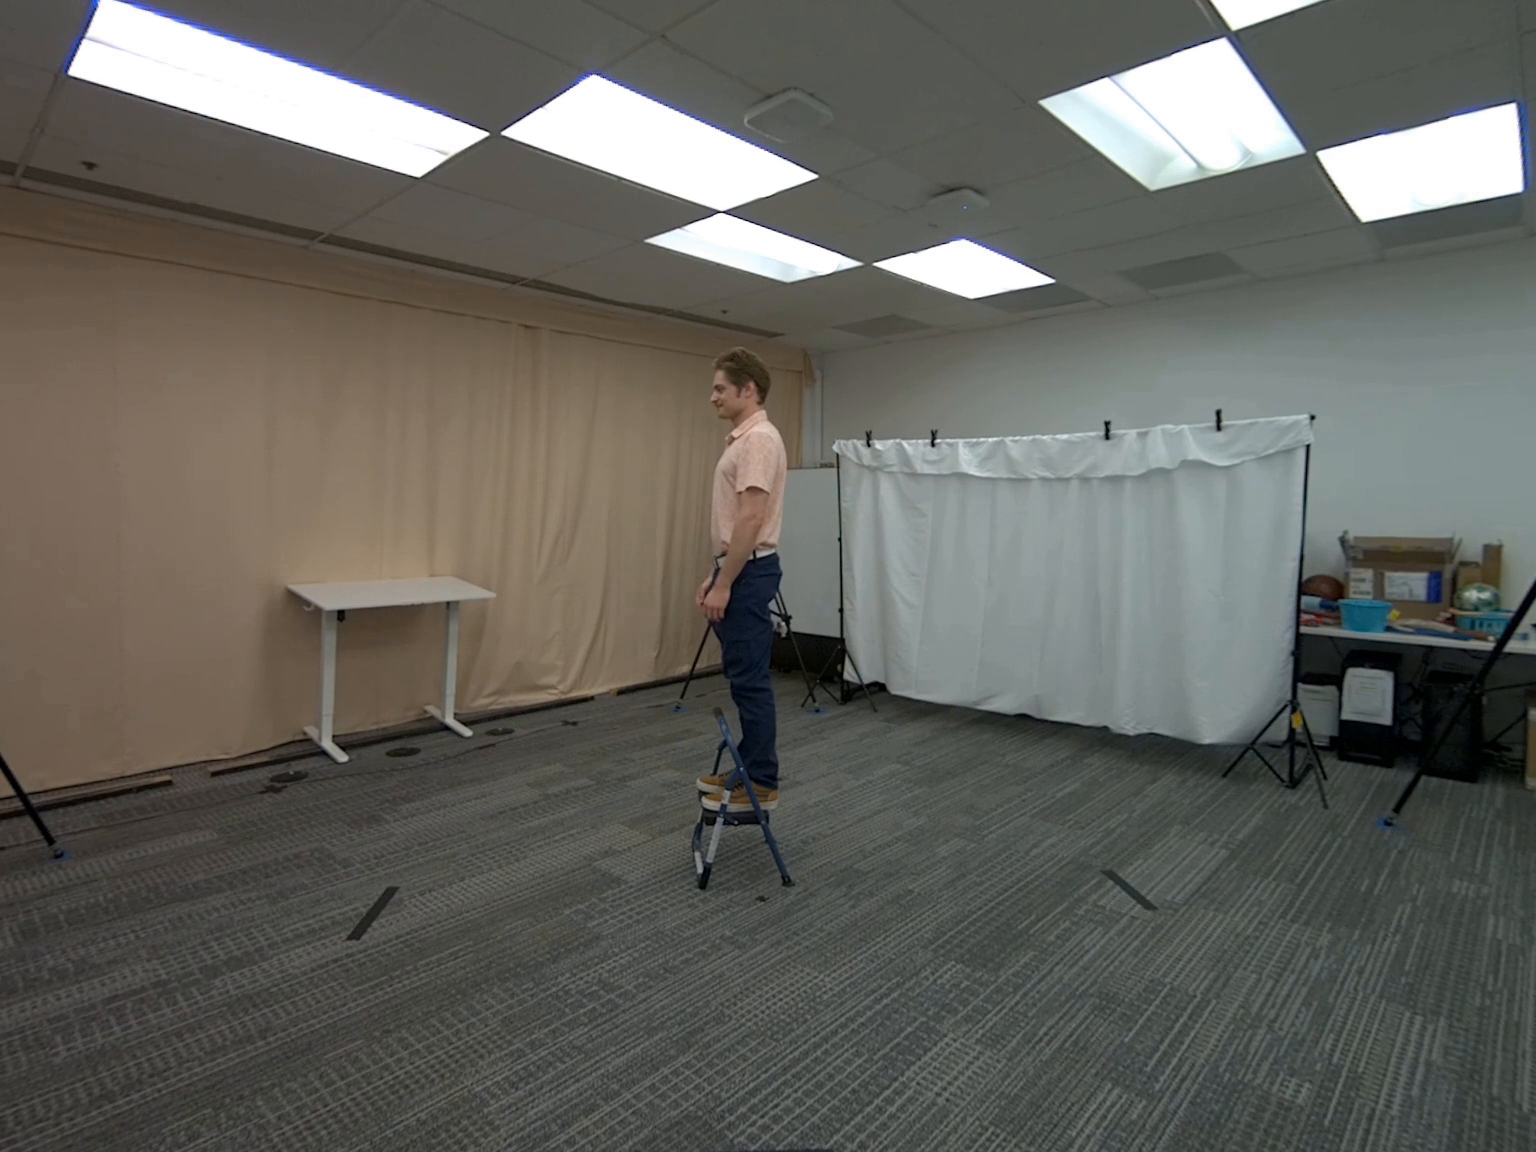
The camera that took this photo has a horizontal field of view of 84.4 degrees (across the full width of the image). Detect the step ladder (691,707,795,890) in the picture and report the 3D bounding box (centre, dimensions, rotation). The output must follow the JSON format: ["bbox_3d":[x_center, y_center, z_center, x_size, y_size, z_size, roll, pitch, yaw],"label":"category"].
[{"bbox_3d":[-0.112,0.822,3.258,0.346,0.605,0.435,0,3,-8],"label":"step ladder"}]
